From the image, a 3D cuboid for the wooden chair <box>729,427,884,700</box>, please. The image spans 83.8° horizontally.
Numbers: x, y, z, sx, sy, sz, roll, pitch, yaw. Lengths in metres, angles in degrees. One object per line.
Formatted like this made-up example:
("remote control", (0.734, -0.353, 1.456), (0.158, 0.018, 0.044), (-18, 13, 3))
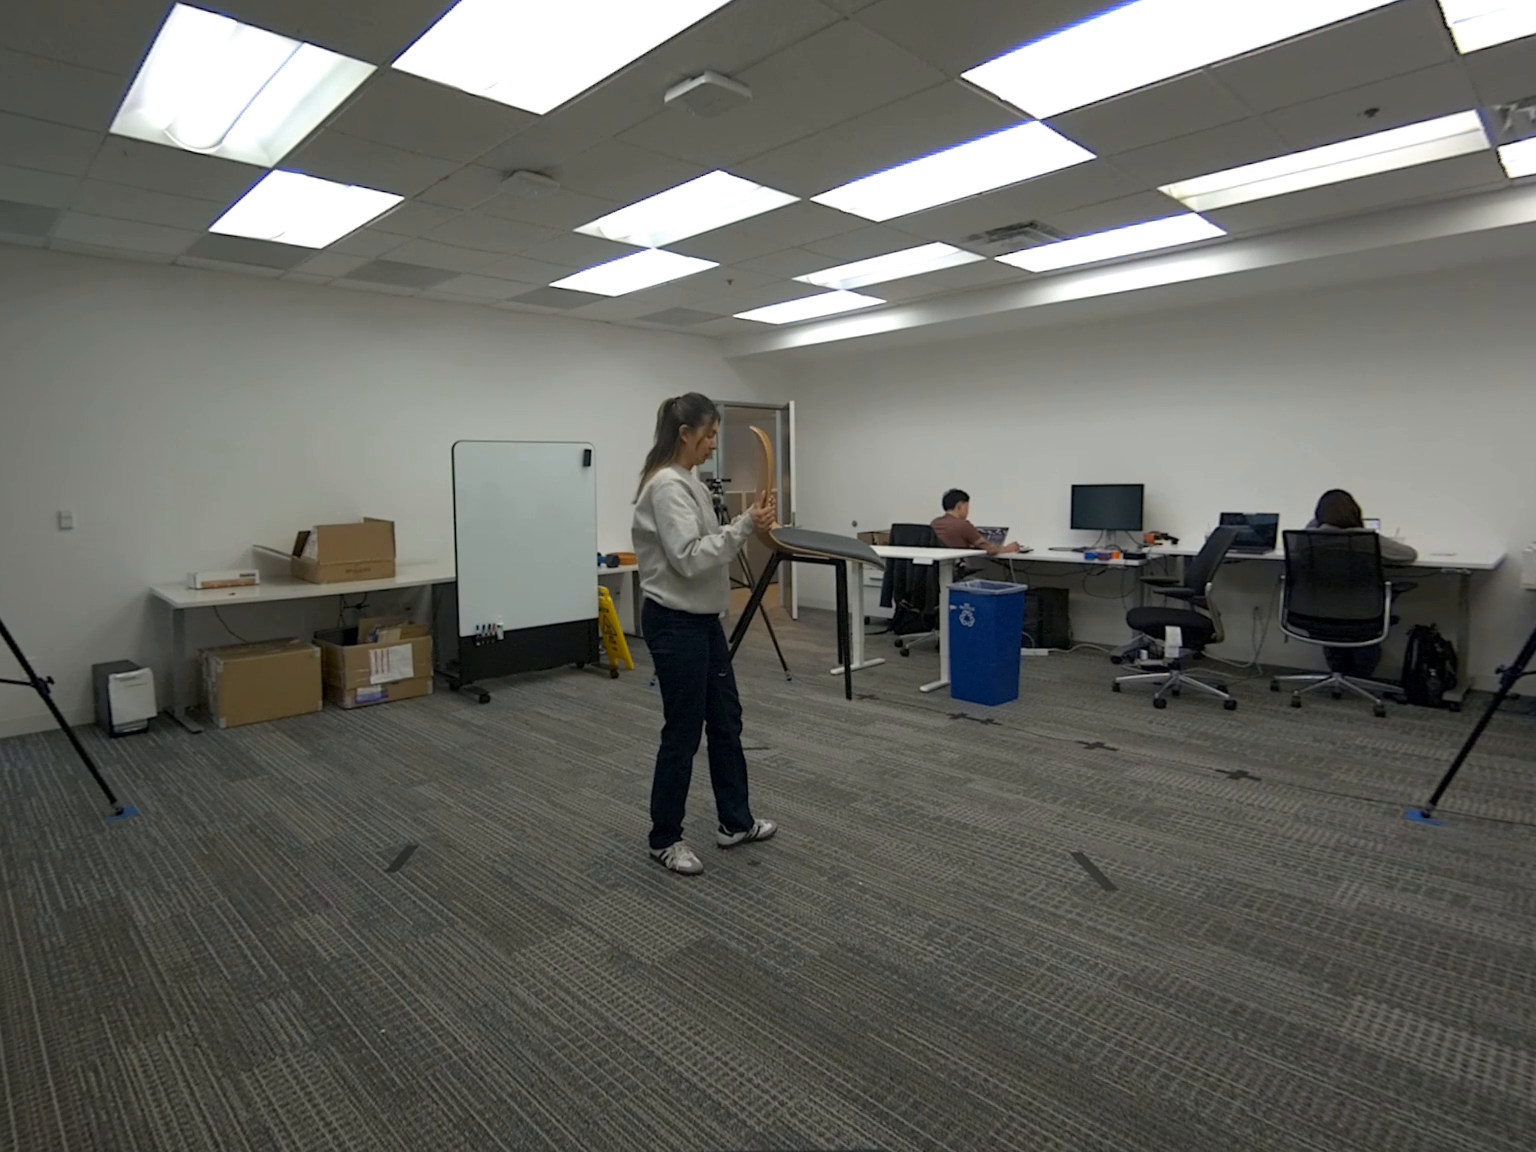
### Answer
("wooden chair", (0.151, -0.071, 3.068), (0.524, 0.873, 0.479), (7, 6, 1))
